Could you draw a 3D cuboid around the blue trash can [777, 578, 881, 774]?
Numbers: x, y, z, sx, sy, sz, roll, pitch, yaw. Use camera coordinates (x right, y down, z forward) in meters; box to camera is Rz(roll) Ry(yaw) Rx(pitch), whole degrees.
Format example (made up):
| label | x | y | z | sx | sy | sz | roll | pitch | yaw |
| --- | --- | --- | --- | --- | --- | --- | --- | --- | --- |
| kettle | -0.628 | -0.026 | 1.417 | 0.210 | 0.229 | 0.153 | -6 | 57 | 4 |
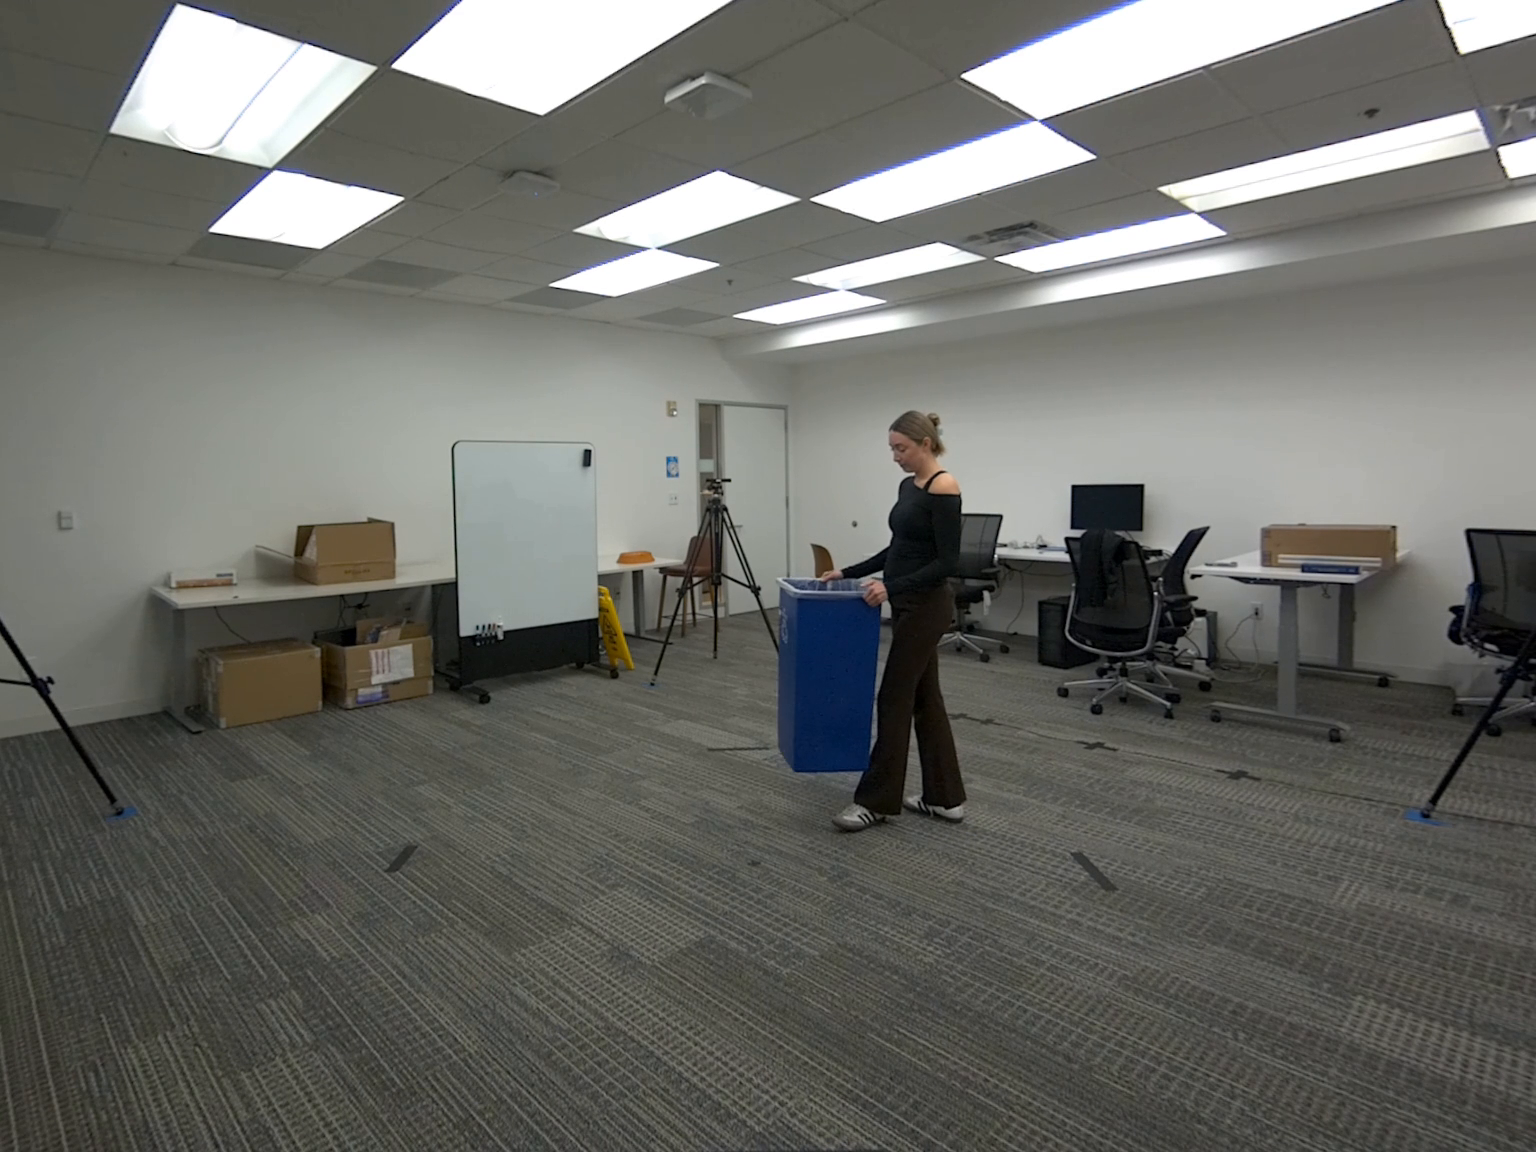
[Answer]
| label | x | y | z | sx | sy | sz | roll | pitch | yaw |
| --- | --- | --- | --- | --- | --- | --- | --- | --- | --- |
| blue trash can | 0.238 | 0.393 | 3.424 | 0.375 | 0.710 | 0.379 | 0 | 5 | -9 |
